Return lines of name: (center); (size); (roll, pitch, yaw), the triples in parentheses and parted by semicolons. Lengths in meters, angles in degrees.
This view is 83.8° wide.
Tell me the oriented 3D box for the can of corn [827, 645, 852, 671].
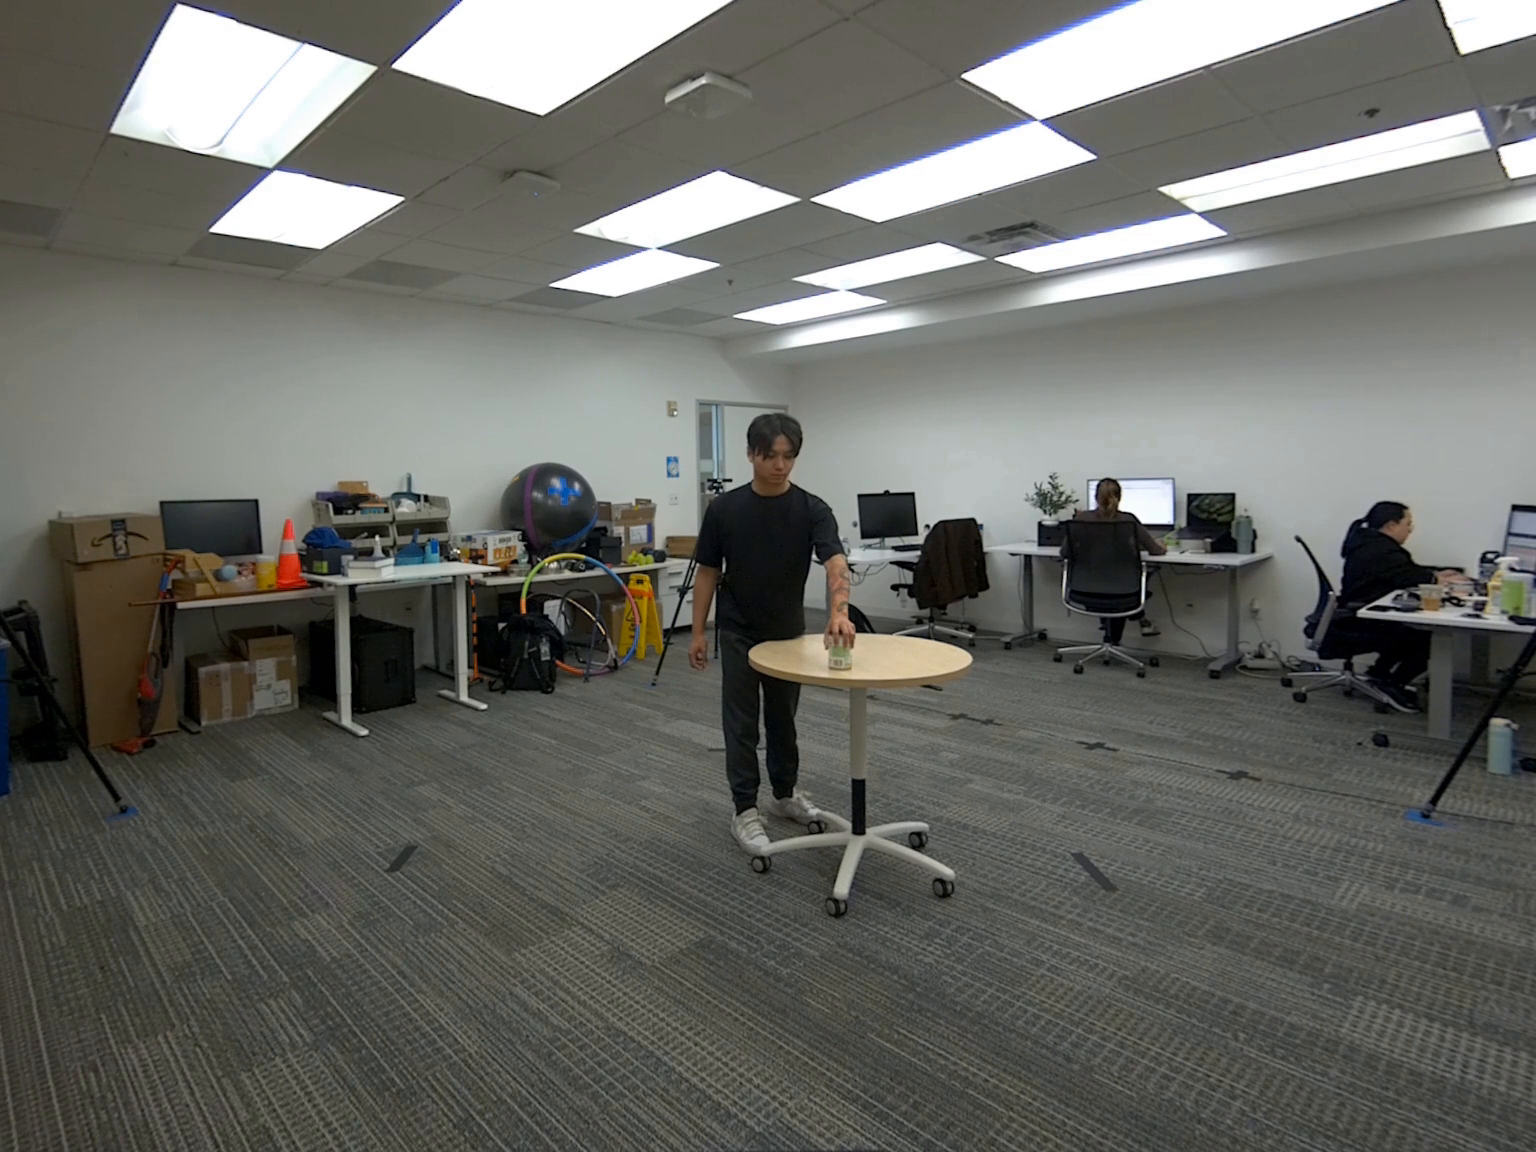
can of corn: (0.232, 0.242, 2.749); (0.074, 0.111, 0.074); (-1, 3, -2)
